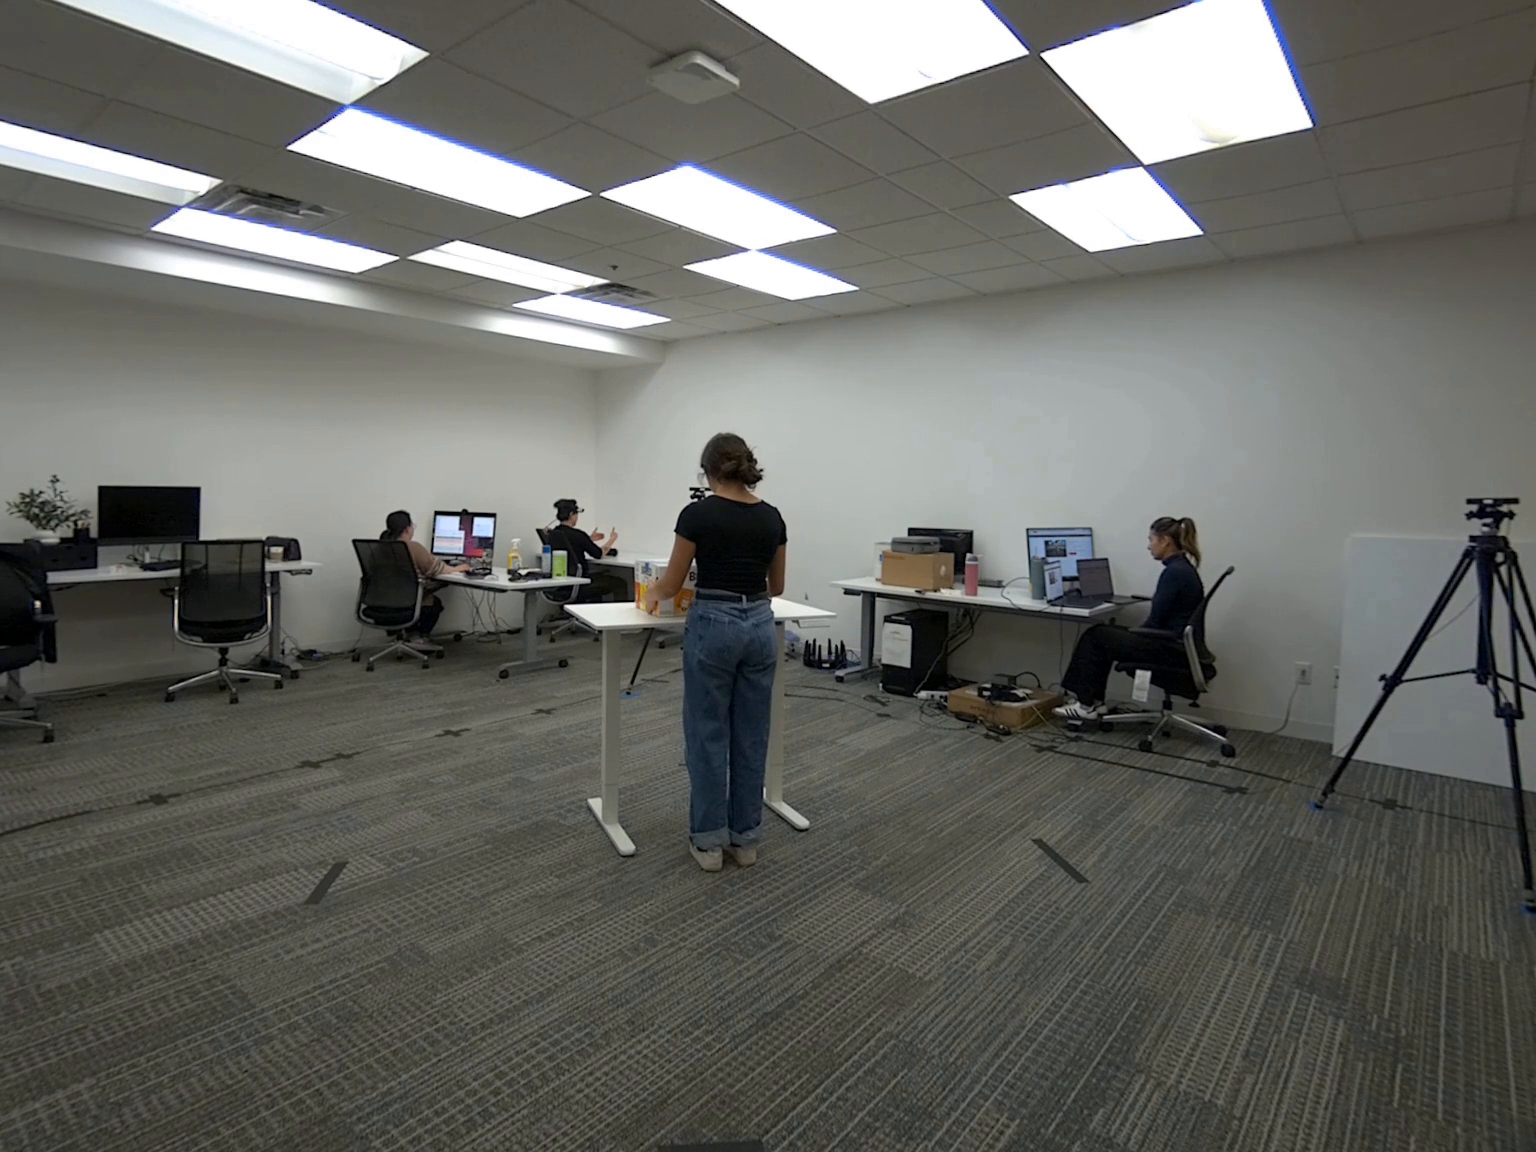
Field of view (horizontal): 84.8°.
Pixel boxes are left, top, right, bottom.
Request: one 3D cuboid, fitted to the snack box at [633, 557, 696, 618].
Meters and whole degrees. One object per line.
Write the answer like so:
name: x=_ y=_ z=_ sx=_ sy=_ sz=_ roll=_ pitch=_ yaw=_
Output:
snack box: x=-0.322 y=0.035 z=3.539 sx=0.396 sy=0.205 sz=0.349 roll=-2 pitch=6 yaw=-24
